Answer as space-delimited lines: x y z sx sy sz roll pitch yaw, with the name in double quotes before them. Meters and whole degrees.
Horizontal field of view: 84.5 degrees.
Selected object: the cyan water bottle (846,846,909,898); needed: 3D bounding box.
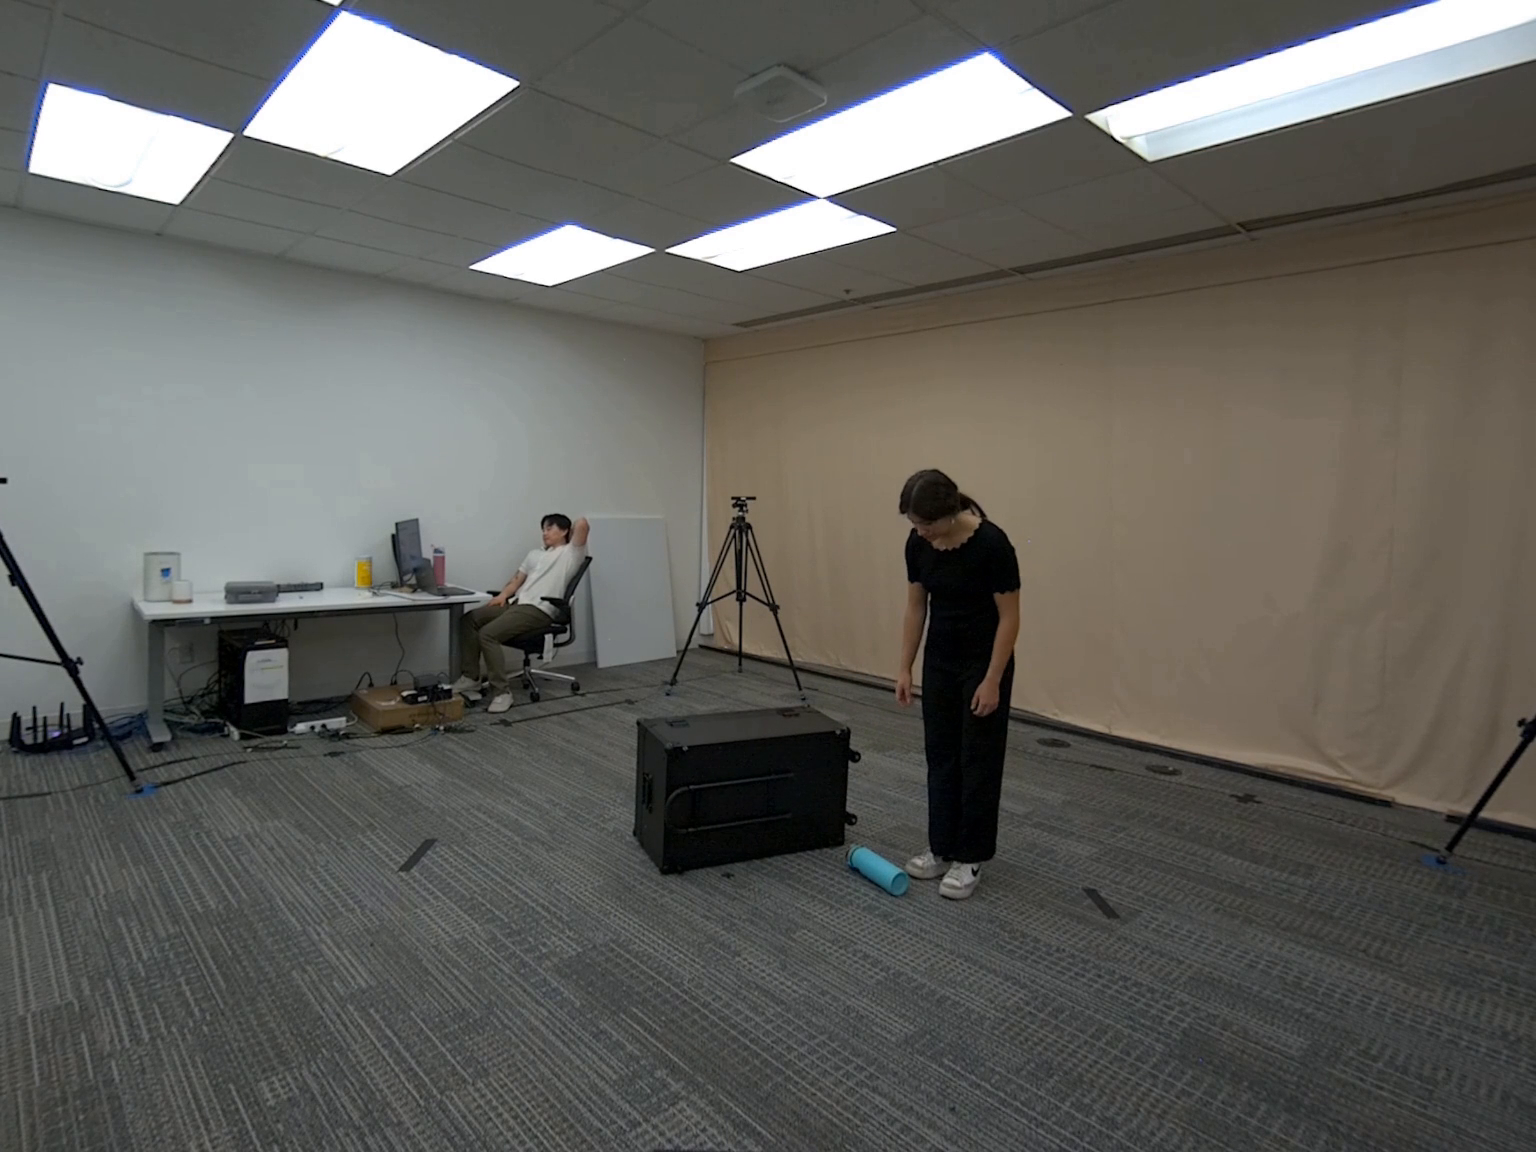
"cyan water bottle" 0.380 1.067 3.092 0.090 0.092 0.290 -1 6 -32
